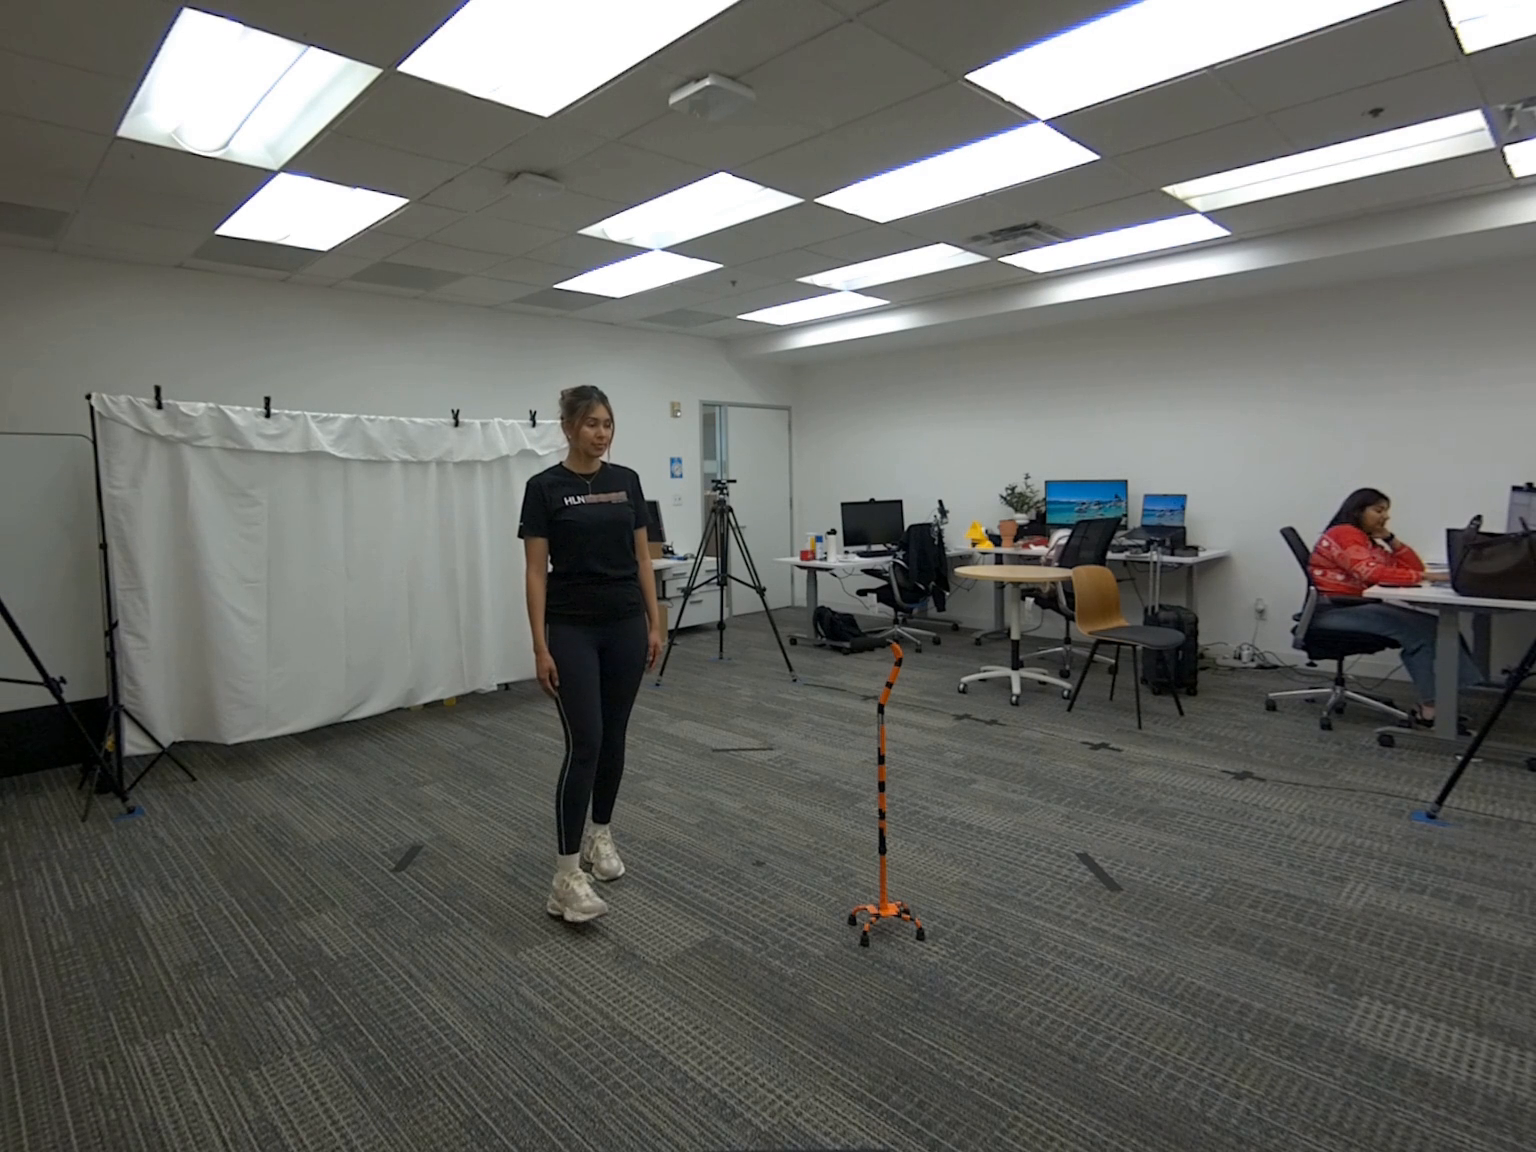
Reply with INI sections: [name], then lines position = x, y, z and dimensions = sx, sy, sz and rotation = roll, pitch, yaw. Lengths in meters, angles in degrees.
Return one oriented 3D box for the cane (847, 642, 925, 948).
[cane]
position = 0.356, 0.635, 2.602
dimensions = 0.204, 0.905, 0.153
rotation = -2, 3, -11
